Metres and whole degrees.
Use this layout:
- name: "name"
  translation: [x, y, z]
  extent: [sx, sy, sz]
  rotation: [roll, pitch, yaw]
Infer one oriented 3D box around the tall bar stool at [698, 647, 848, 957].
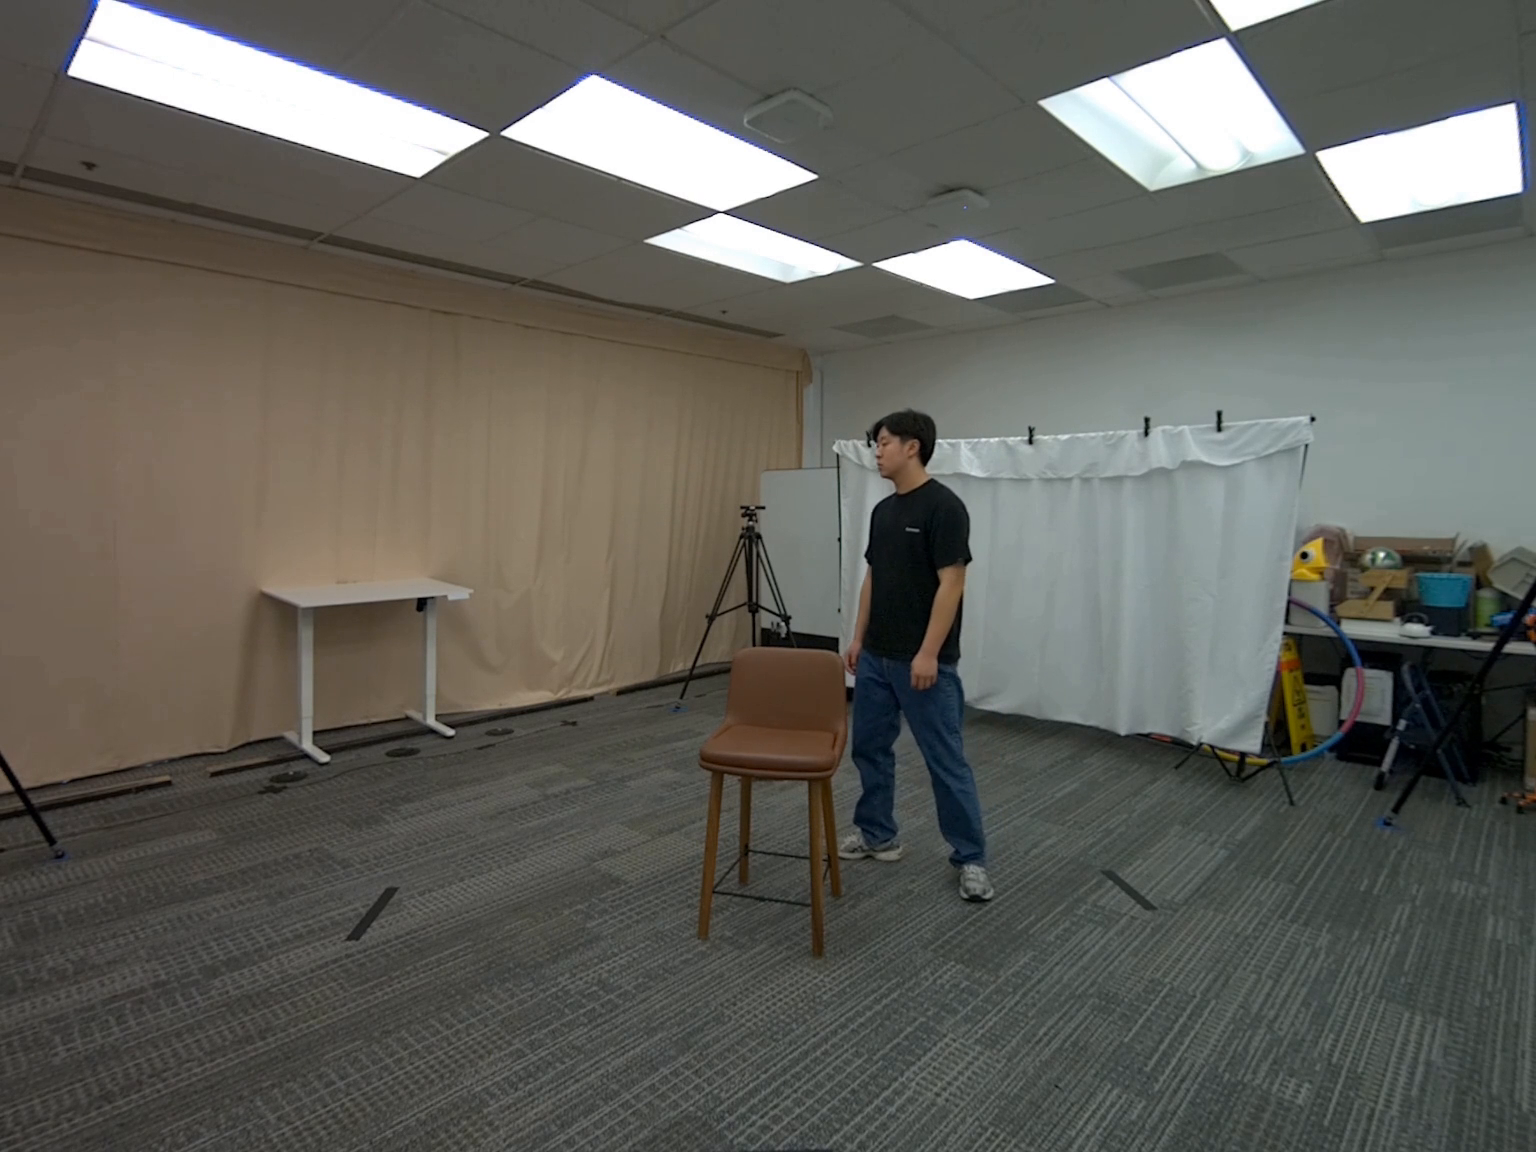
- name: "tall bar stool"
  translation: [0.032, 0.722, 2.841]
  extent: [0.466, 0.889, 0.459]
  rotation: [1, 2, 18]
